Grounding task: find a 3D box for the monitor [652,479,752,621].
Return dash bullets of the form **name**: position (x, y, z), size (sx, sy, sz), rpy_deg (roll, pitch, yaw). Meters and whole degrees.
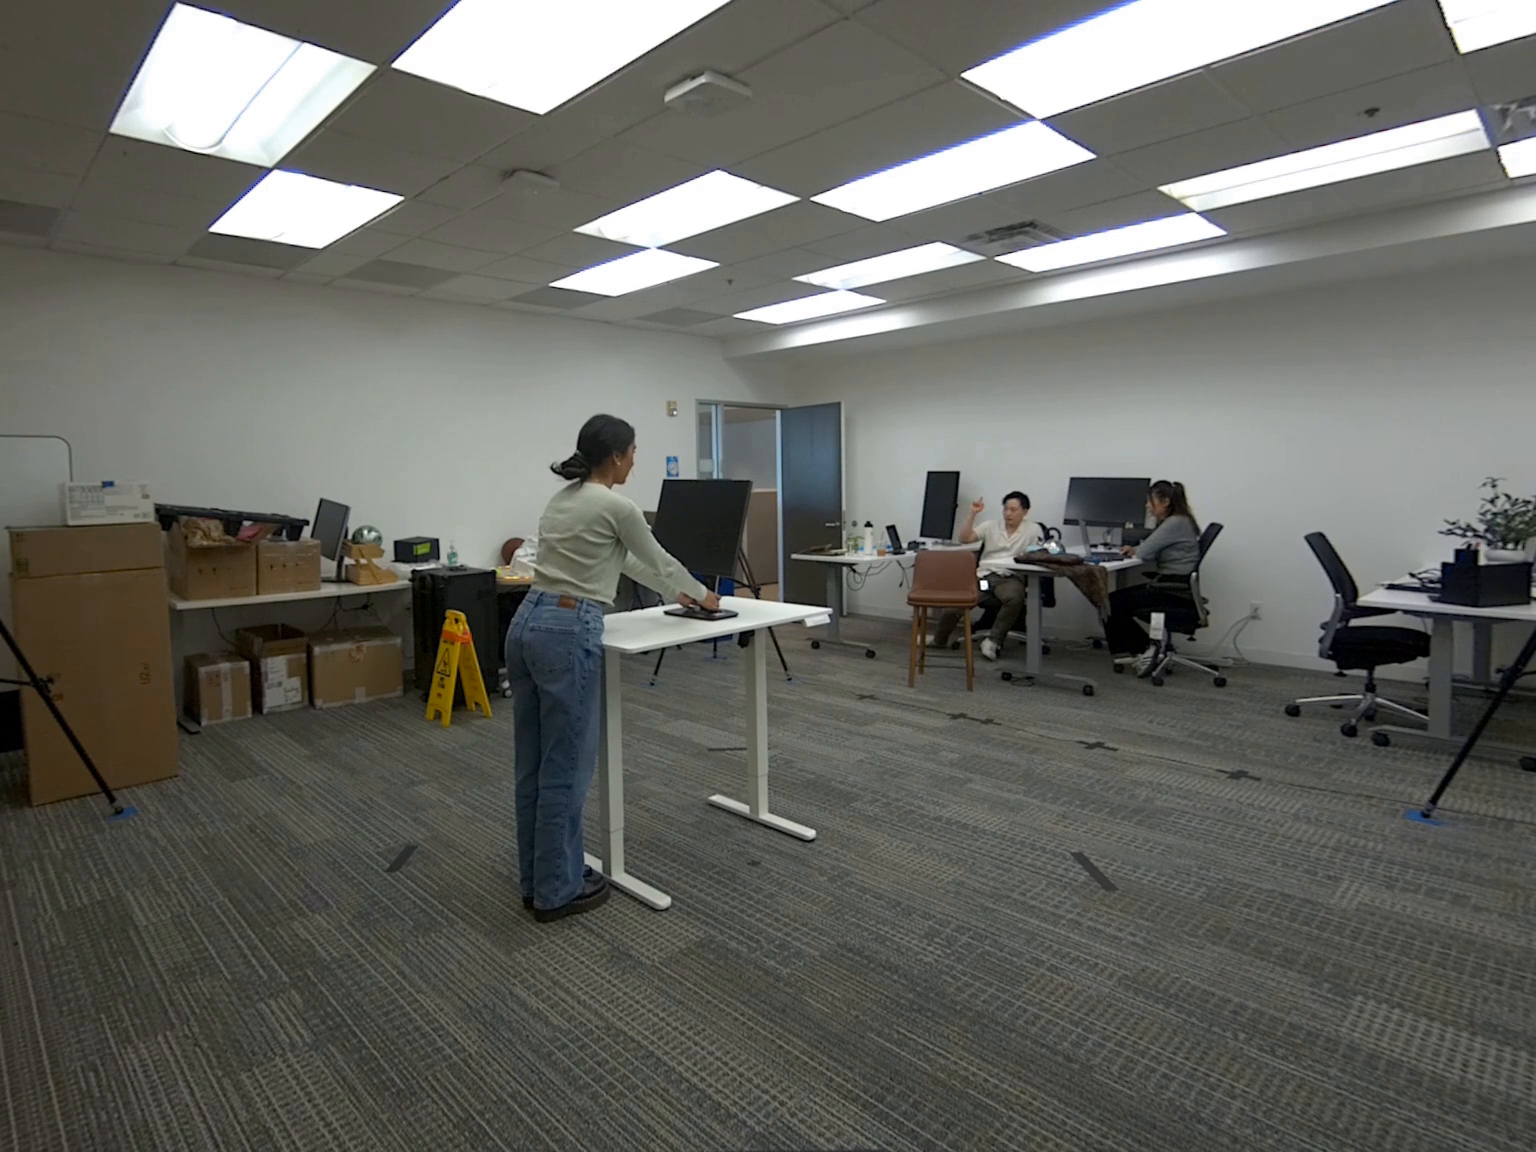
- **monitor**: position (-0.244, -0.105, 3.245), size (0.182, 0.521, 0.556), rpy_deg (-2, 5, -42)
